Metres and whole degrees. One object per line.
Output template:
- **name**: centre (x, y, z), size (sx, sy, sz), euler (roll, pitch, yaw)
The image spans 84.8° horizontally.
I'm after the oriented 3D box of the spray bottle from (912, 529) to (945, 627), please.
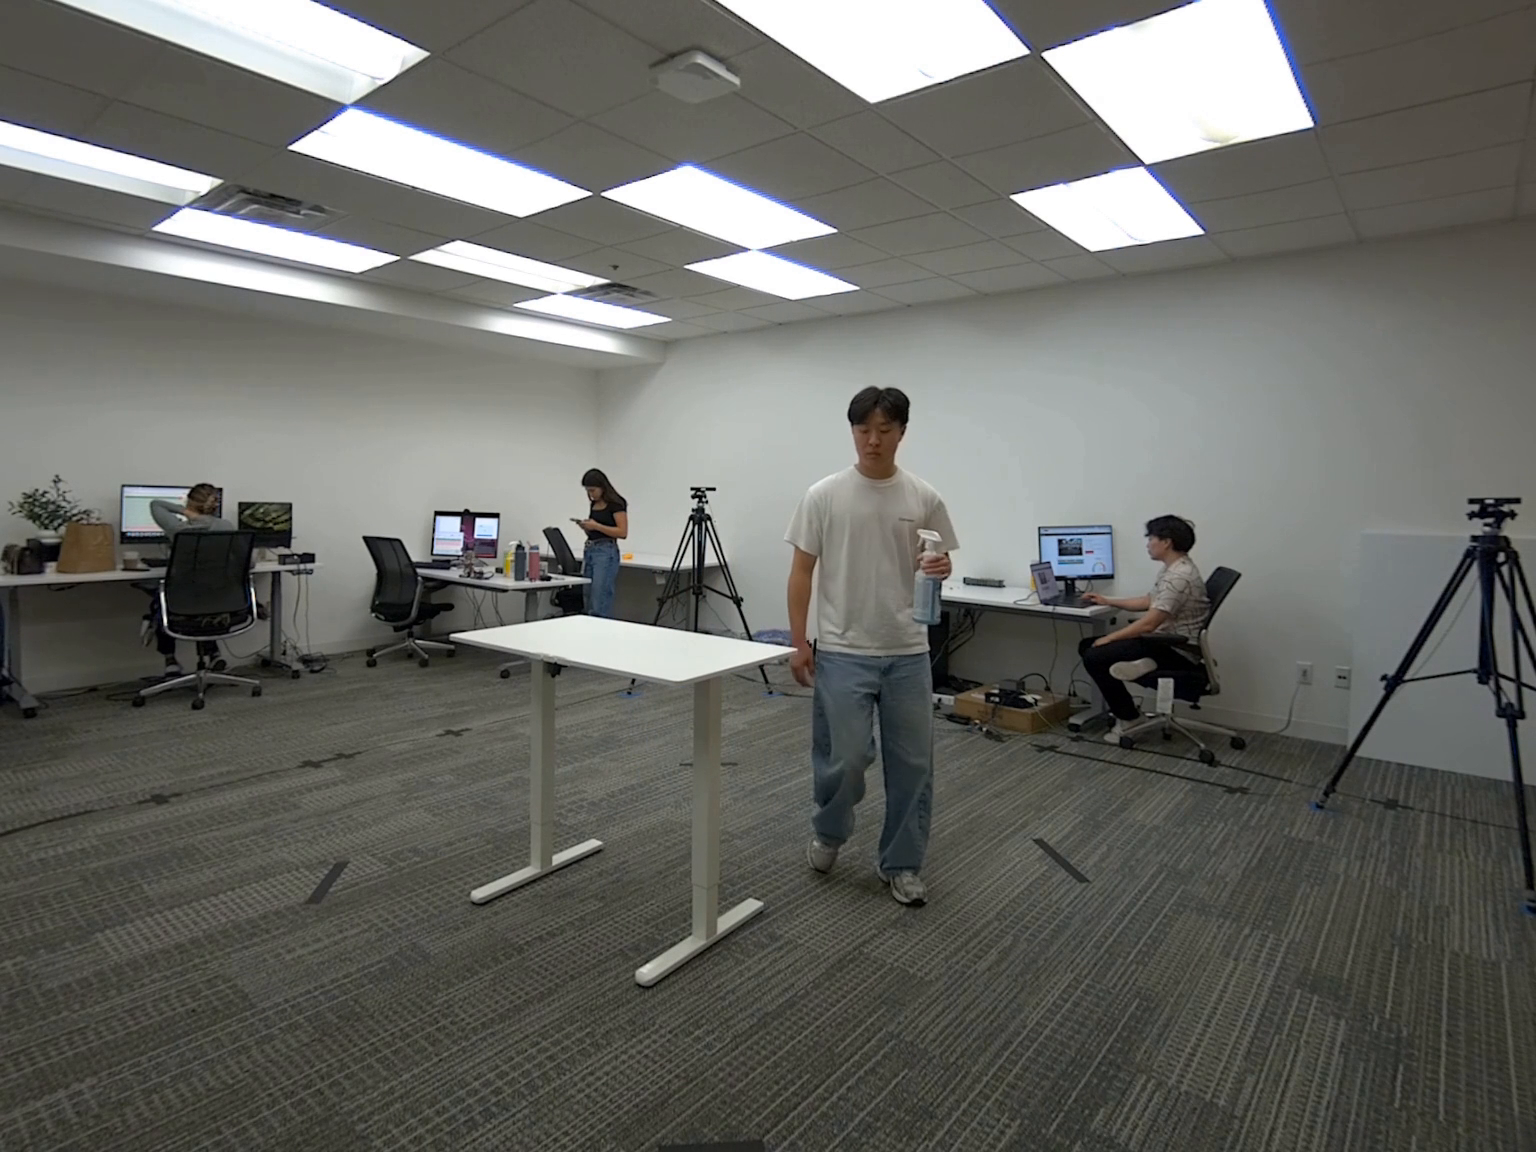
- **spray bottle**: centre (0.504, -0.005, 2.740), size (0.086, 0.296, 0.092), euler (1, 5, -15)
